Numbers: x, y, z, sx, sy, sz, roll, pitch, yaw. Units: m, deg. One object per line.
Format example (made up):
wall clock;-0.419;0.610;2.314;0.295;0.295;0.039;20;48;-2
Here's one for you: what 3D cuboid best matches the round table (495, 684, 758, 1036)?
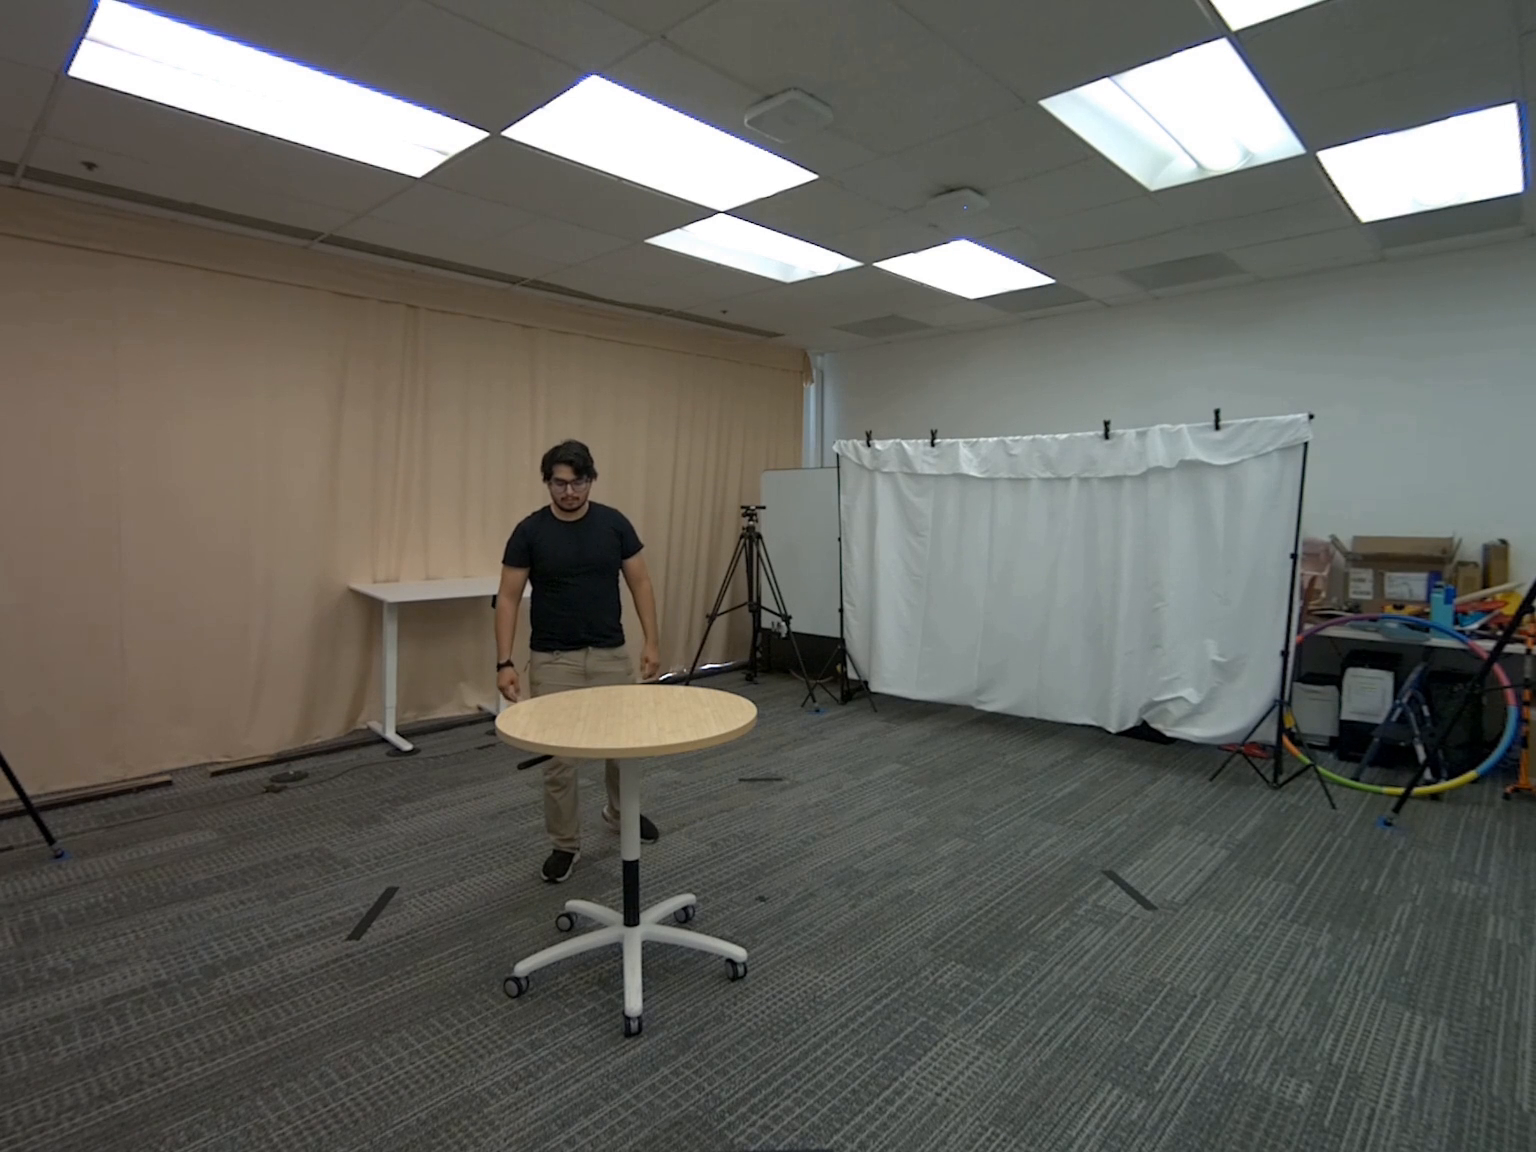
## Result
round table;-0.397;0.793;2.511;0.784;0.785;0.788;-1;4;-2
